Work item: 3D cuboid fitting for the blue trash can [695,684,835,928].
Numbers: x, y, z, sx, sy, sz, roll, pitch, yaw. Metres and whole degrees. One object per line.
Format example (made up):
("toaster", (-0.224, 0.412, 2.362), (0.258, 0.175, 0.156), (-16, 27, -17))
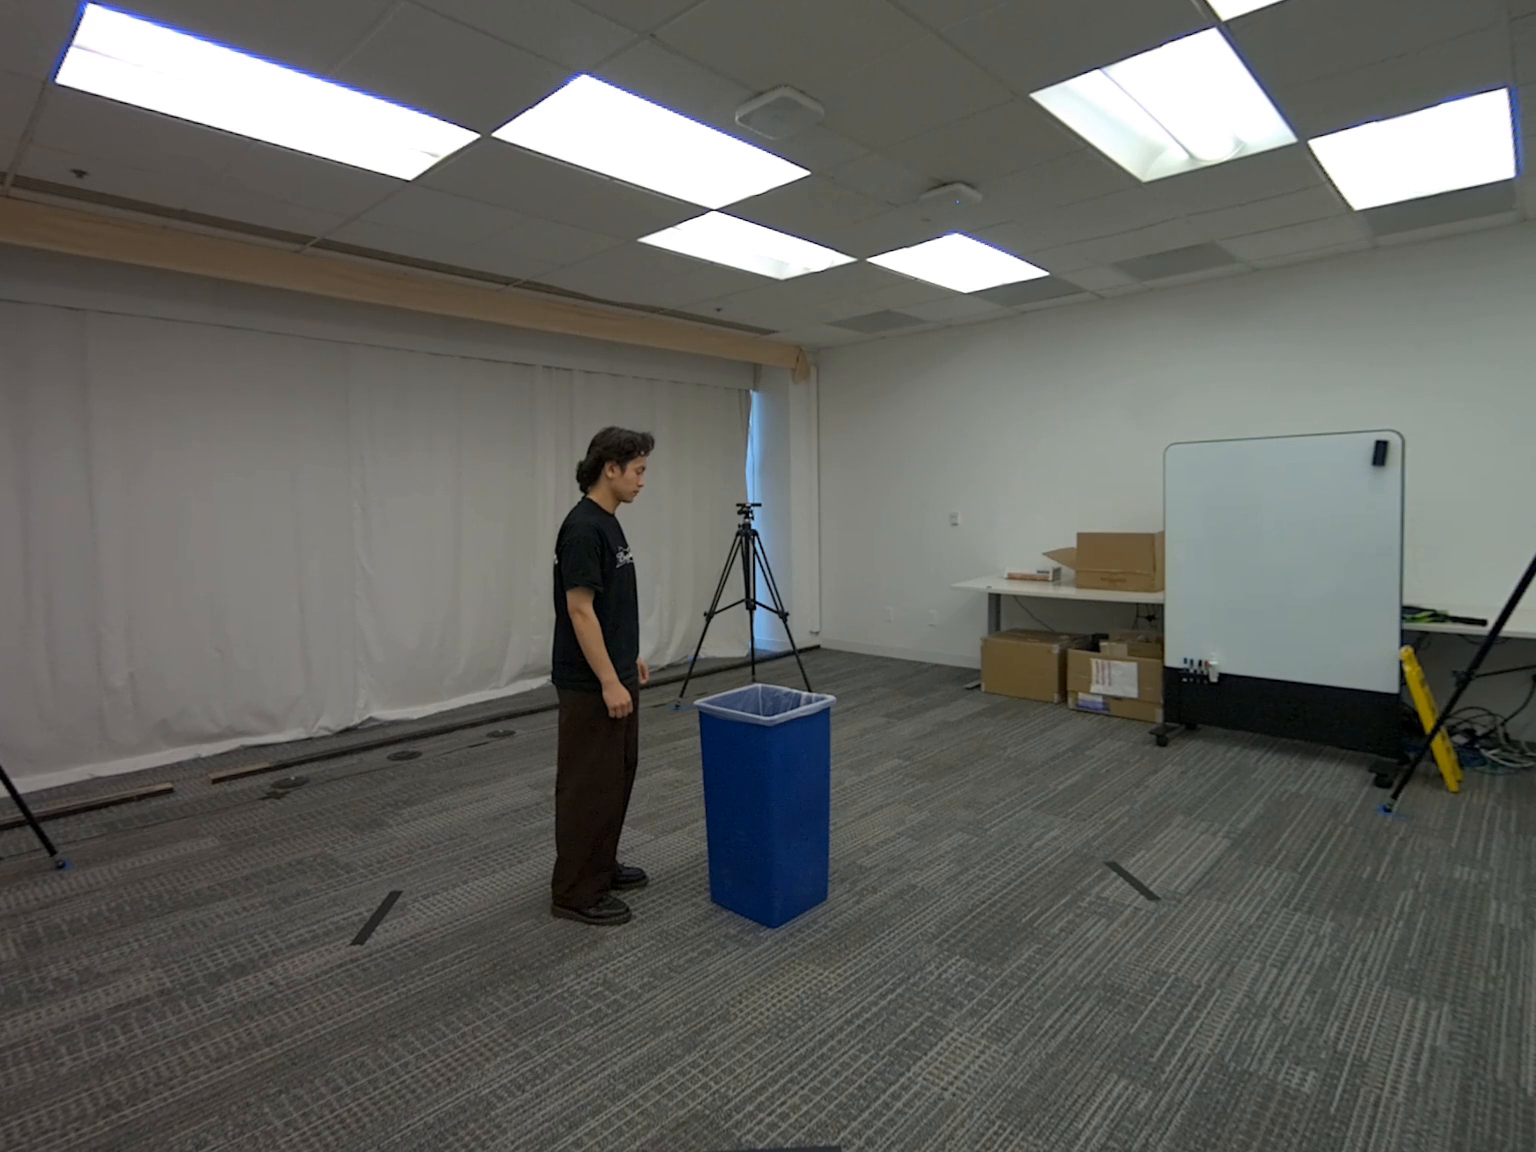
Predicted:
("blue trash can", (-0.003, 0.783, 2.927), (0.390, 0.712, 0.363), (2, 4, 43))
